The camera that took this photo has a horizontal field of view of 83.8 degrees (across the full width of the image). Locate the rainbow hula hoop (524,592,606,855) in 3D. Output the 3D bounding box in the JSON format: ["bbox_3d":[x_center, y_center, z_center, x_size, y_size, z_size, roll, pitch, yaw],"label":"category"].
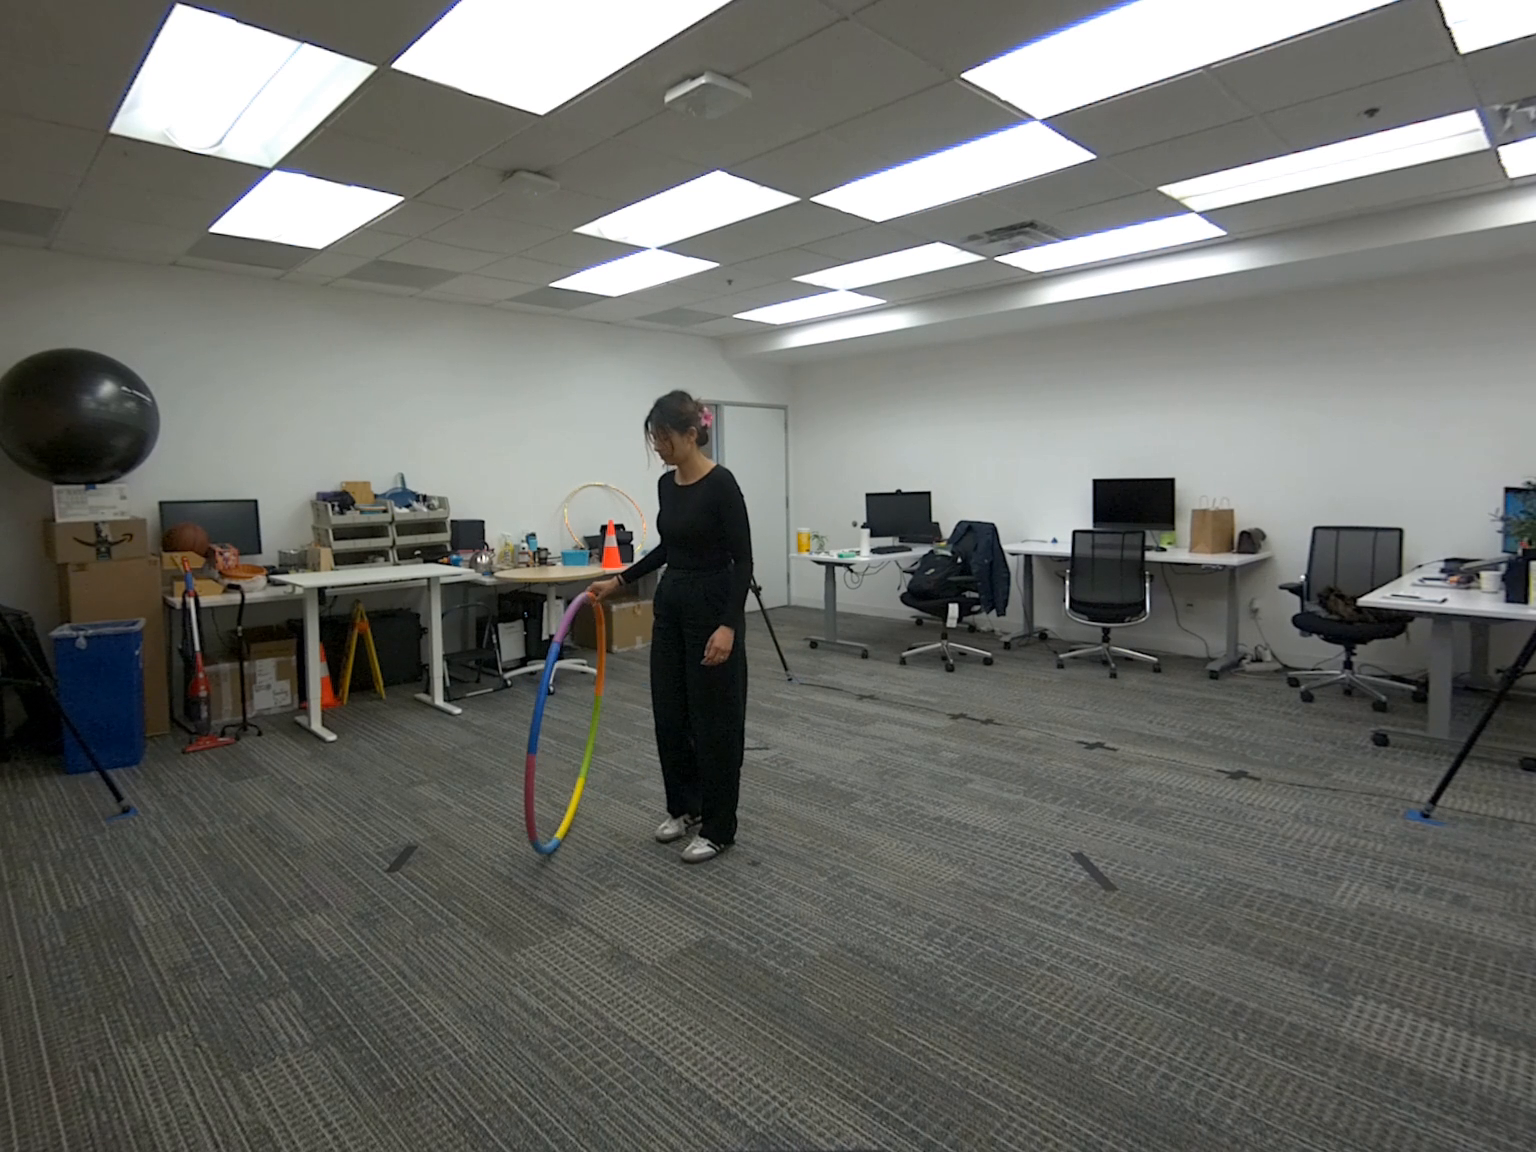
[{"bbox_3d":[-0.752,0.550,3.292,0.036,0.975,0.978,7,5,2],"label":"rainbow hula hoop"}]
